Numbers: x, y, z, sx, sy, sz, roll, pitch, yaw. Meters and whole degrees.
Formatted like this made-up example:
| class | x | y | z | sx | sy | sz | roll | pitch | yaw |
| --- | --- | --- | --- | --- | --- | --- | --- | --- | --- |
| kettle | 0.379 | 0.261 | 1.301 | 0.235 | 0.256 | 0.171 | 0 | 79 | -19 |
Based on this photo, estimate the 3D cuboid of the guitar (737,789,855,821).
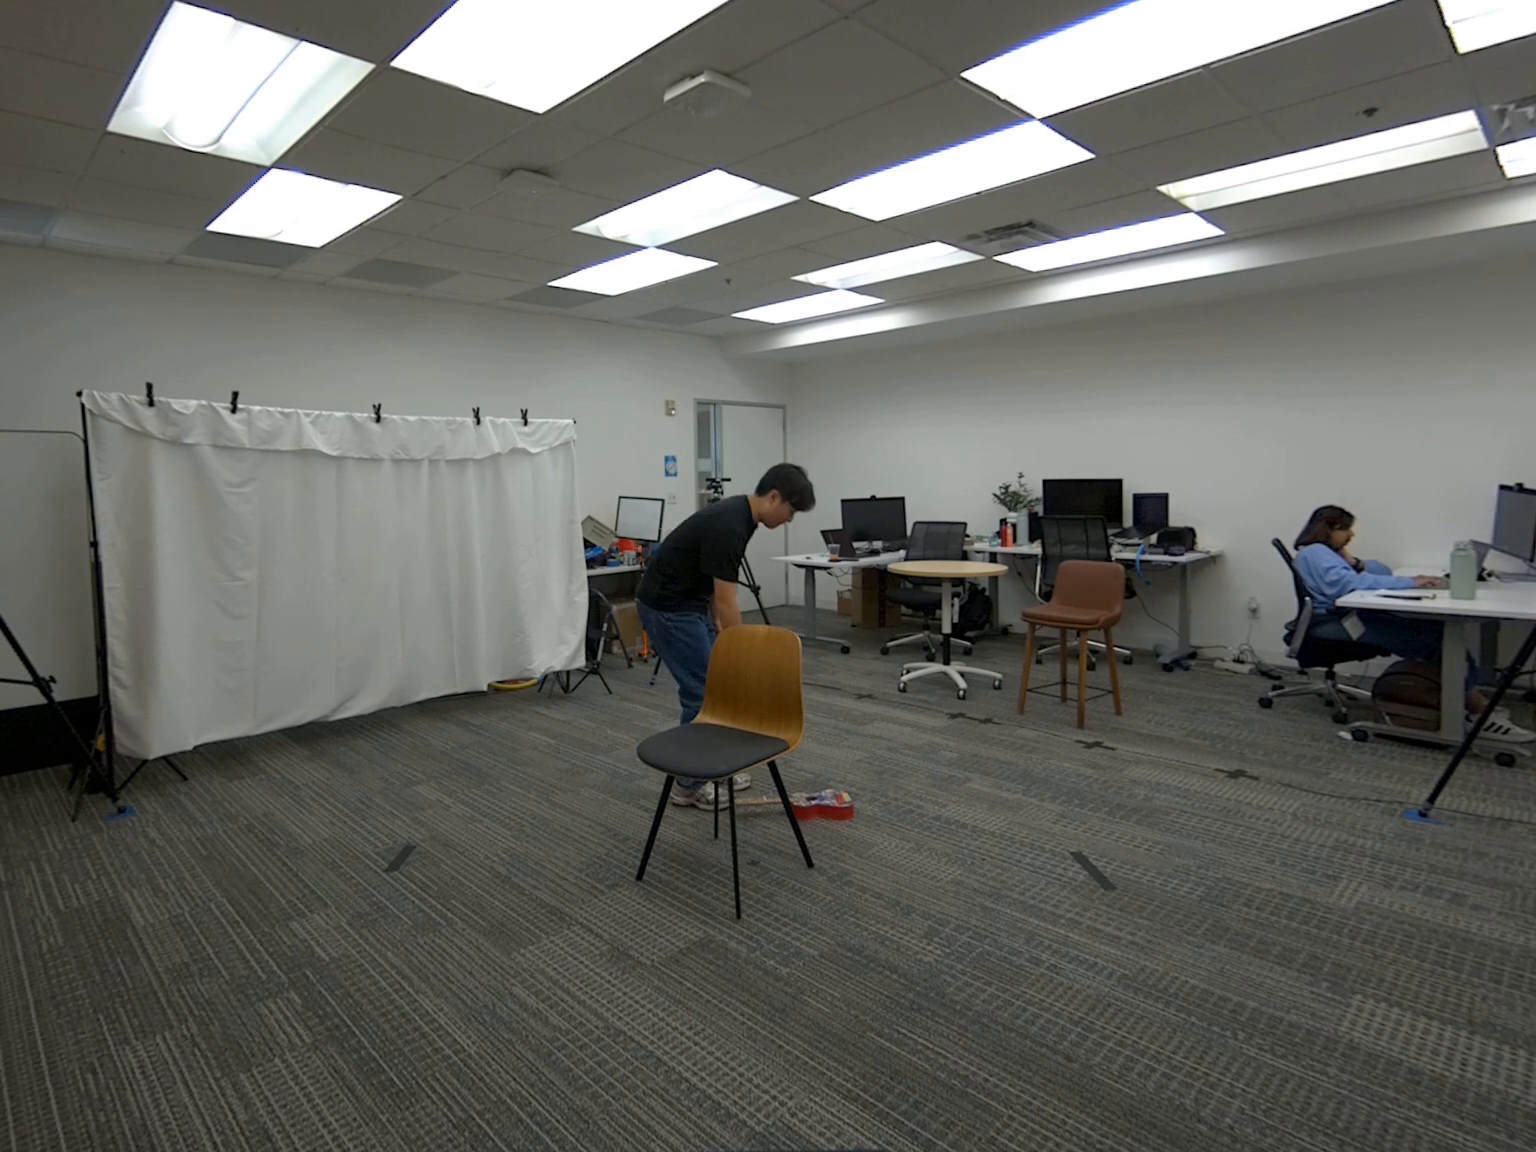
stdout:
| class | x | y | z | sx | sy | sz | roll | pitch | yaw |
| --- | --- | --- | --- | --- | --- | --- | --- | --- | --- |
| guitar | 0.111 | 0.952 | 3.582 | 0.500 | 0.070 | 0.193 | 0 | 7 | 4 |
